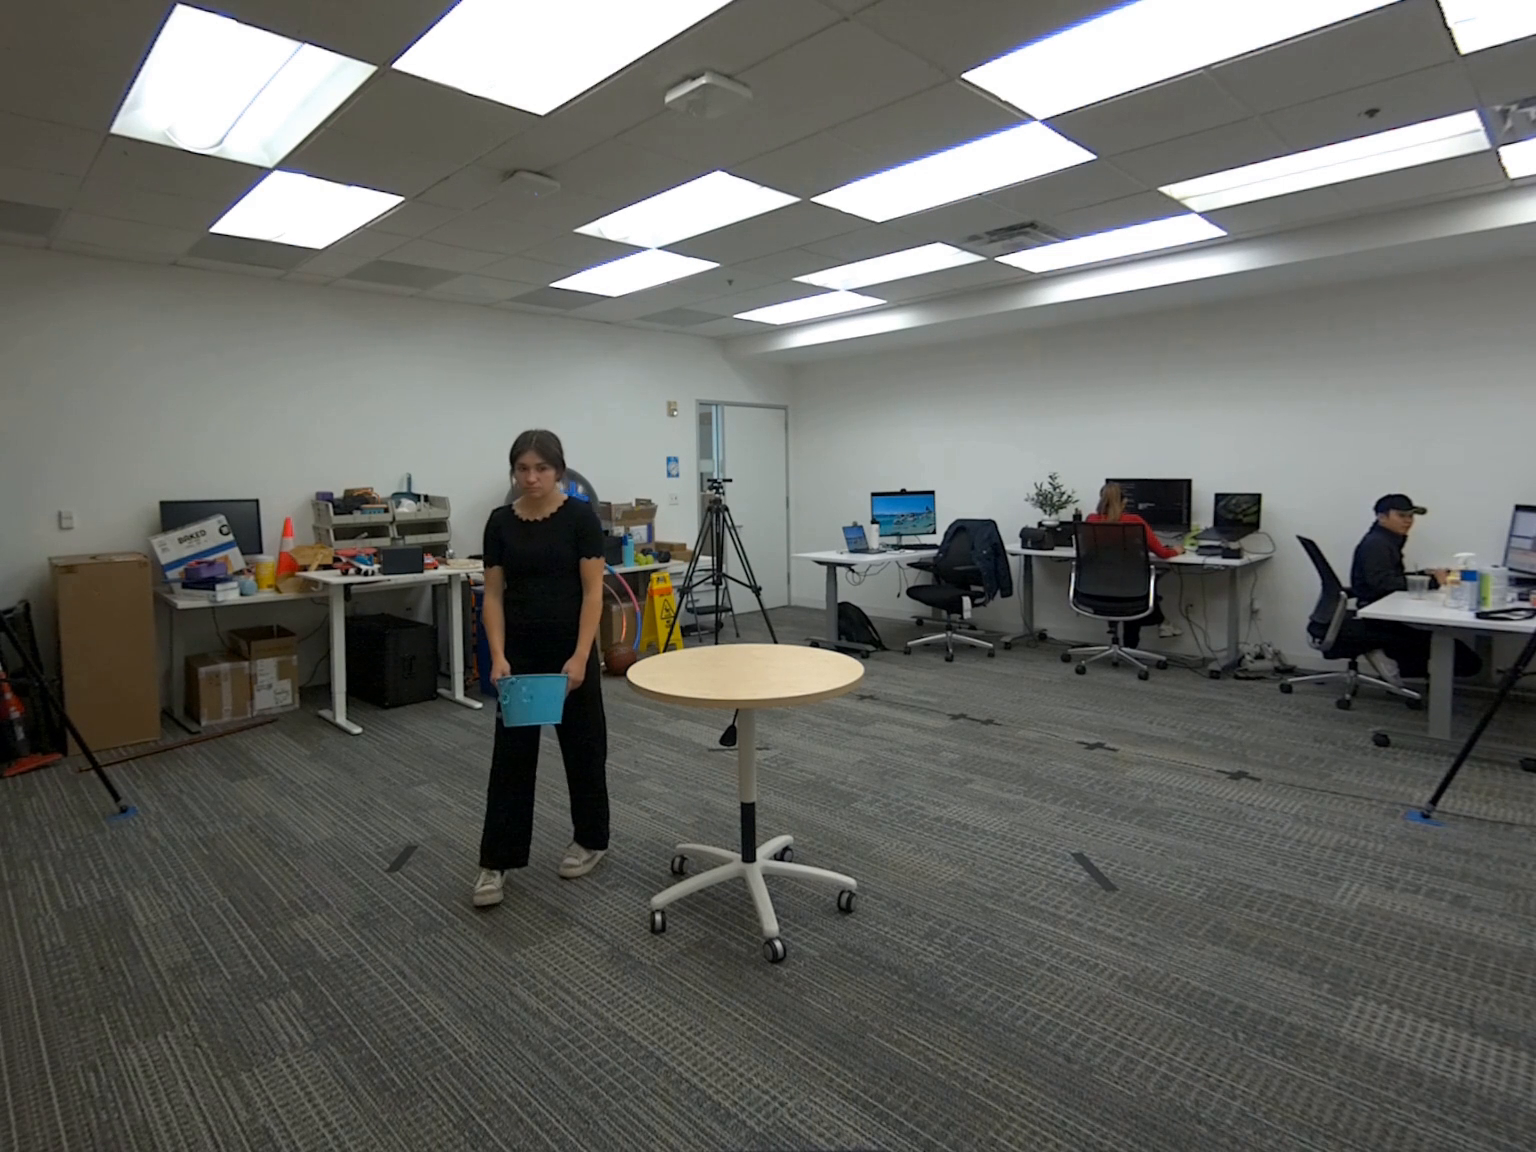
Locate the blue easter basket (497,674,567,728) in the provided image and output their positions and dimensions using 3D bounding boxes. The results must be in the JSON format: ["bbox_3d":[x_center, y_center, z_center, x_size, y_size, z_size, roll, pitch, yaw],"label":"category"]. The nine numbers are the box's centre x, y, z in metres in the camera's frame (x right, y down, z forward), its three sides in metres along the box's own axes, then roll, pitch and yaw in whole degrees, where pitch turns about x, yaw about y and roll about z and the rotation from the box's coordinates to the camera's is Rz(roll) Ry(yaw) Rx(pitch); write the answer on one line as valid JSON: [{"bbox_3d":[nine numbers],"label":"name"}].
[{"bbox_3d":[-0.773,0.410,2.780,0.243,0.157,0.242,-4,-8,-2],"label":"blue easter basket"}]
